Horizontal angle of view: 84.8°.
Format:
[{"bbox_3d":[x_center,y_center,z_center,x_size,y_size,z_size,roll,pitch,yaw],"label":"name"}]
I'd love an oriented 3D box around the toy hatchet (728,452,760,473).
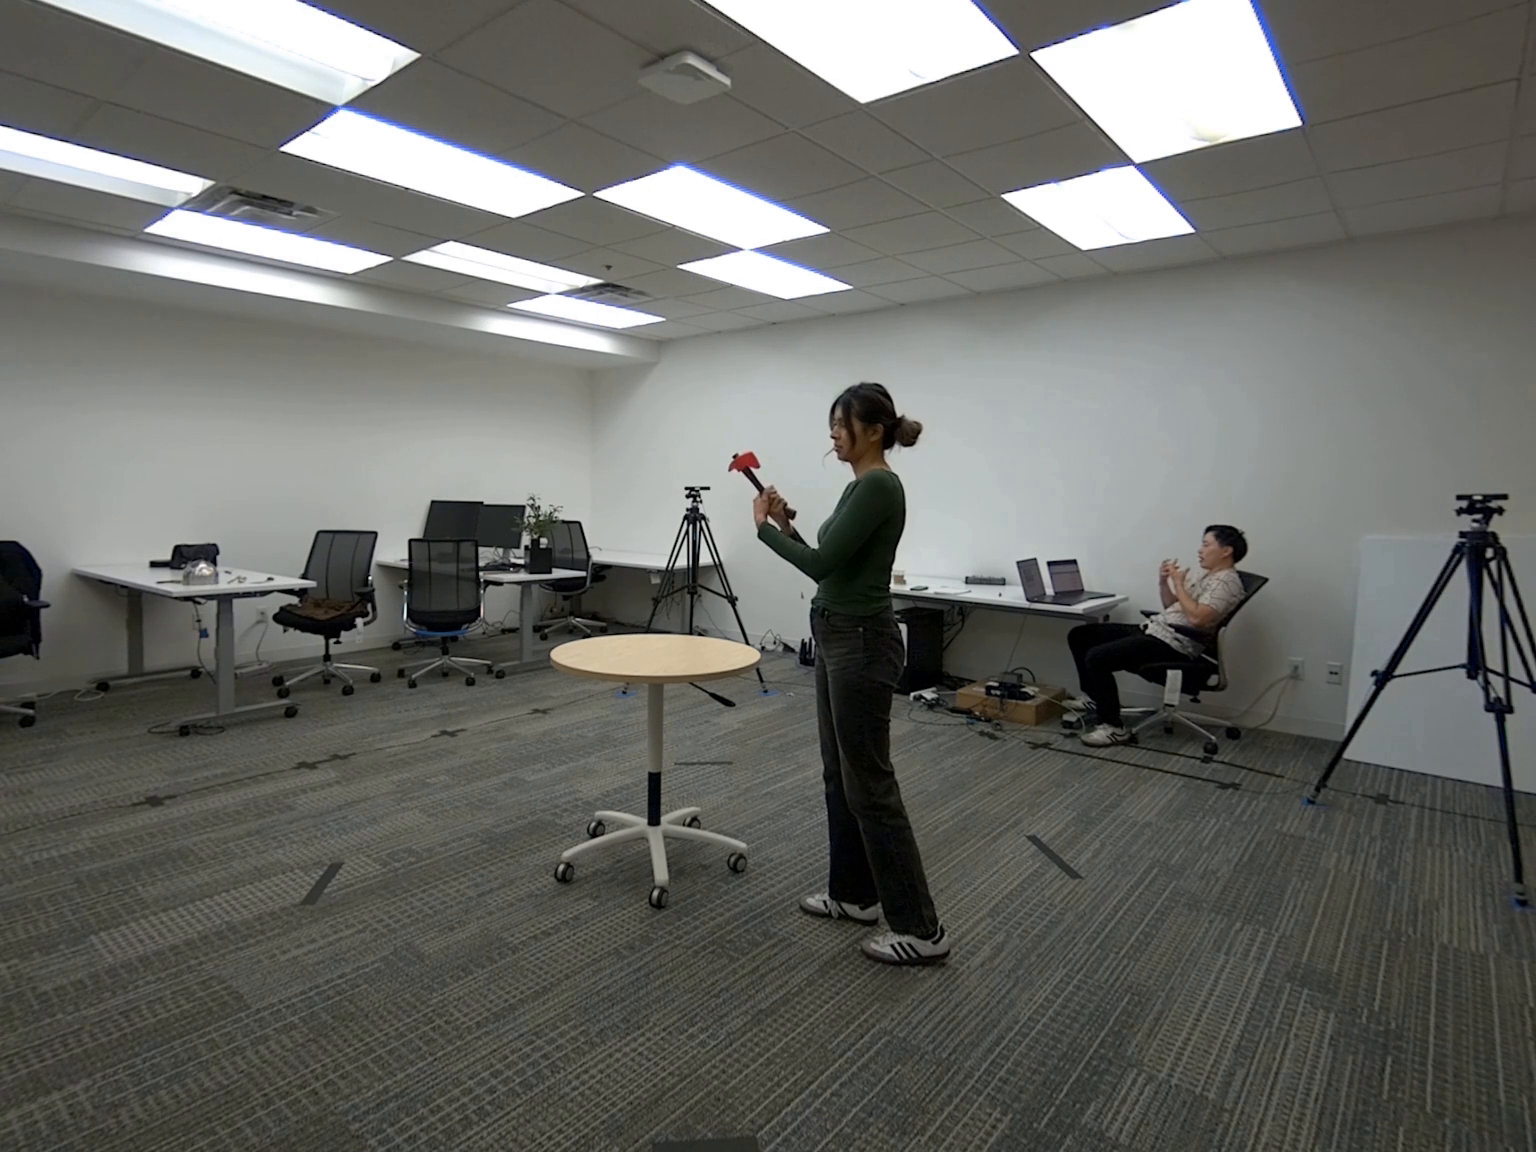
[{"bbox_3d":[-0.009,-0.302,2.653,0.274,0.129,0.029,35,48,9],"label":"toy hatchet"}]
